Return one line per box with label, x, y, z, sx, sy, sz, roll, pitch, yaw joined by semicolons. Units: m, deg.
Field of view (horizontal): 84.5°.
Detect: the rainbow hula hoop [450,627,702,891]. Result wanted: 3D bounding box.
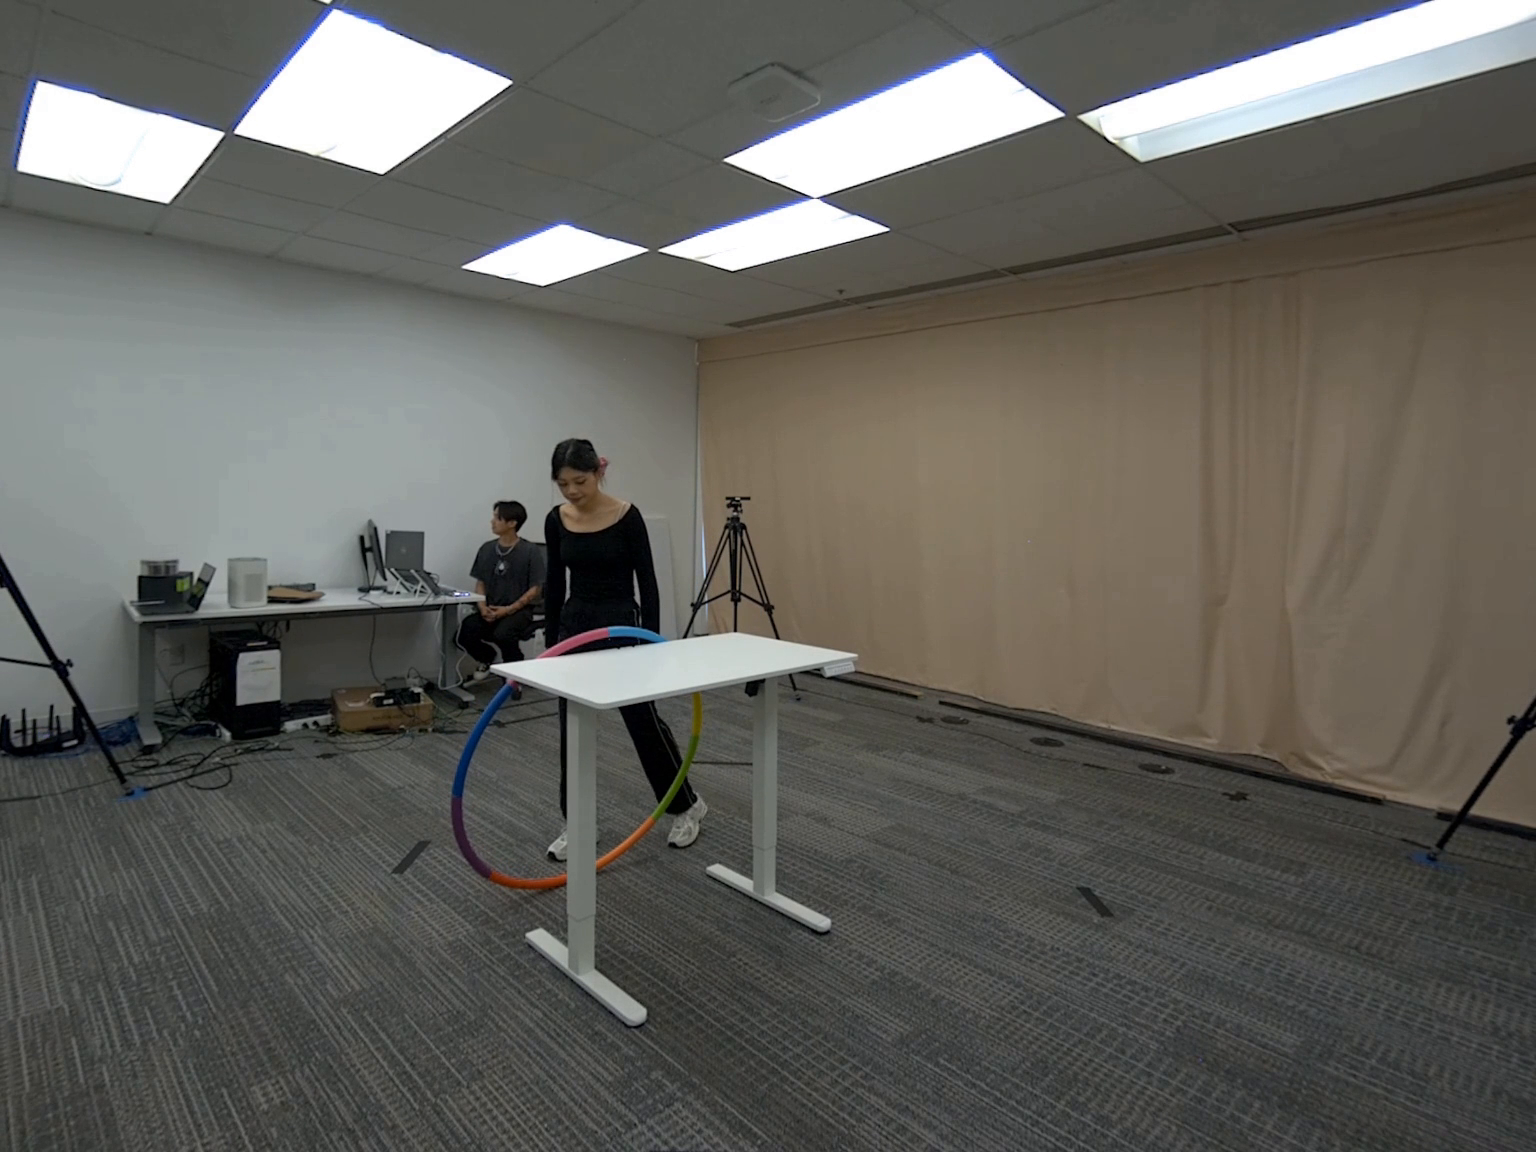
rainbow hula hoop;-0.623;0.639;2.912;0.956;0.971;0.036;-3;20;-44
